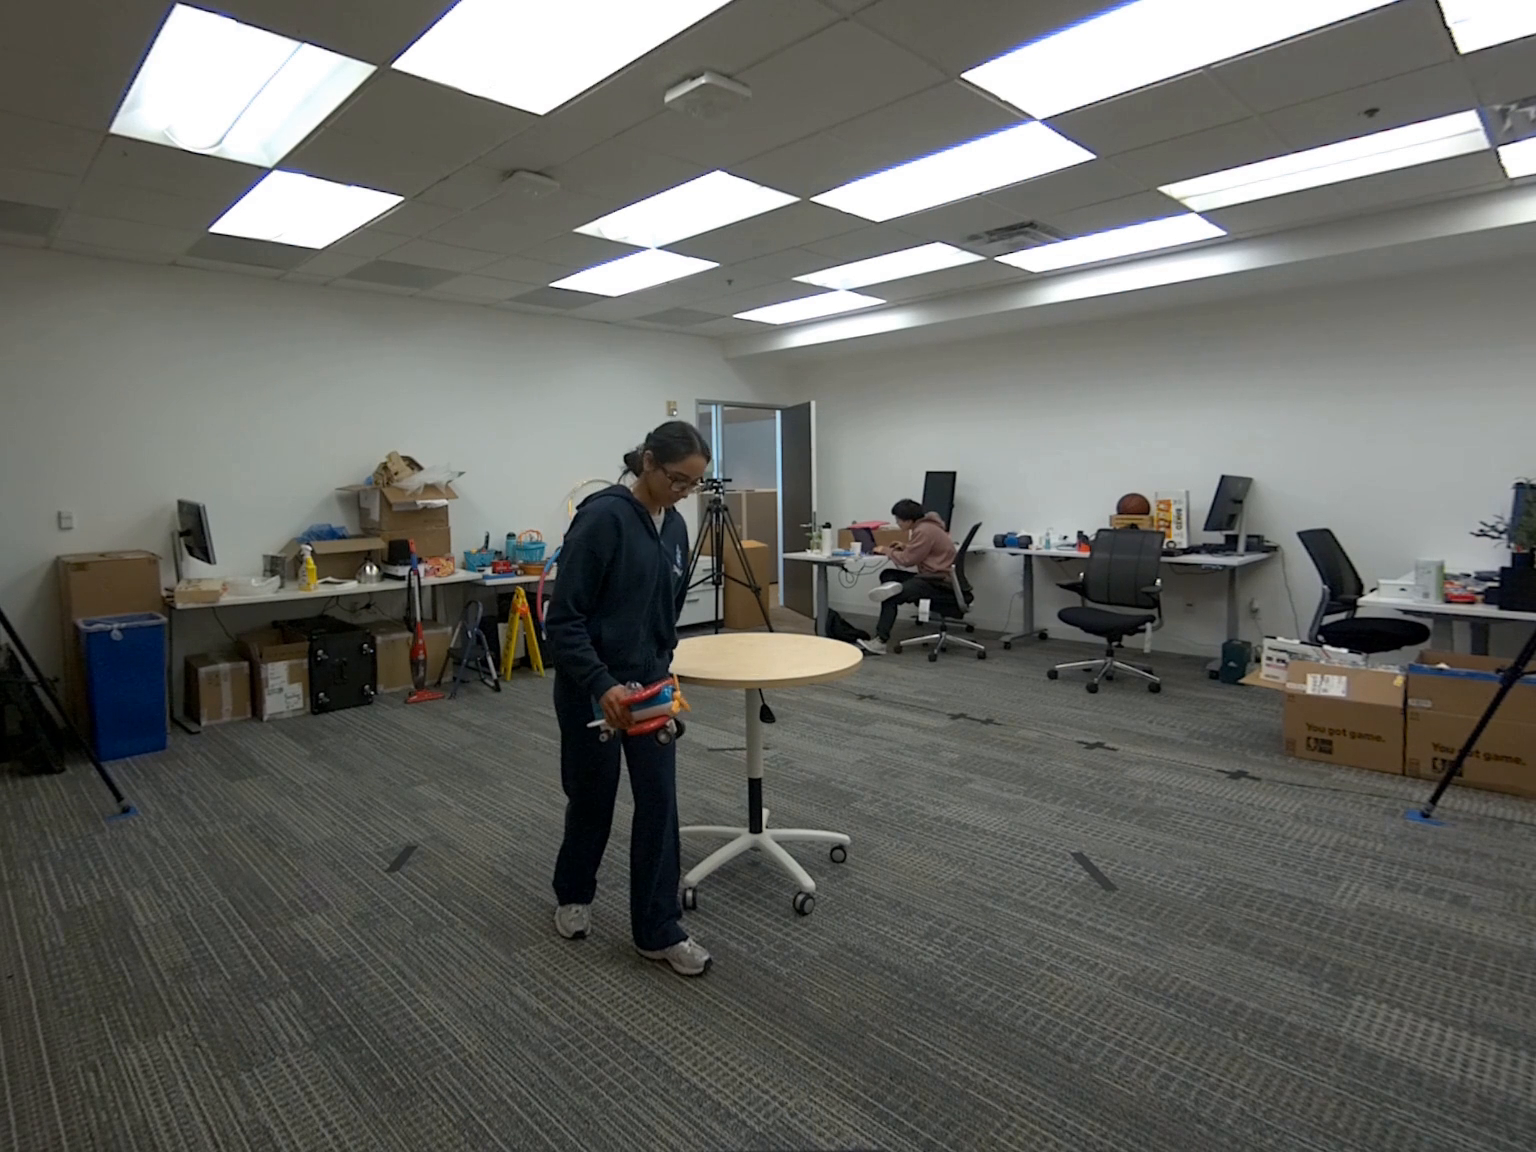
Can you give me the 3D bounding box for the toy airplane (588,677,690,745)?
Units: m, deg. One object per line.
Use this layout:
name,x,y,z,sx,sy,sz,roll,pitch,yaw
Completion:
toy airplane,-0.347,0.366,2.243,0.256,0.156,0.254,-3,2,-13
